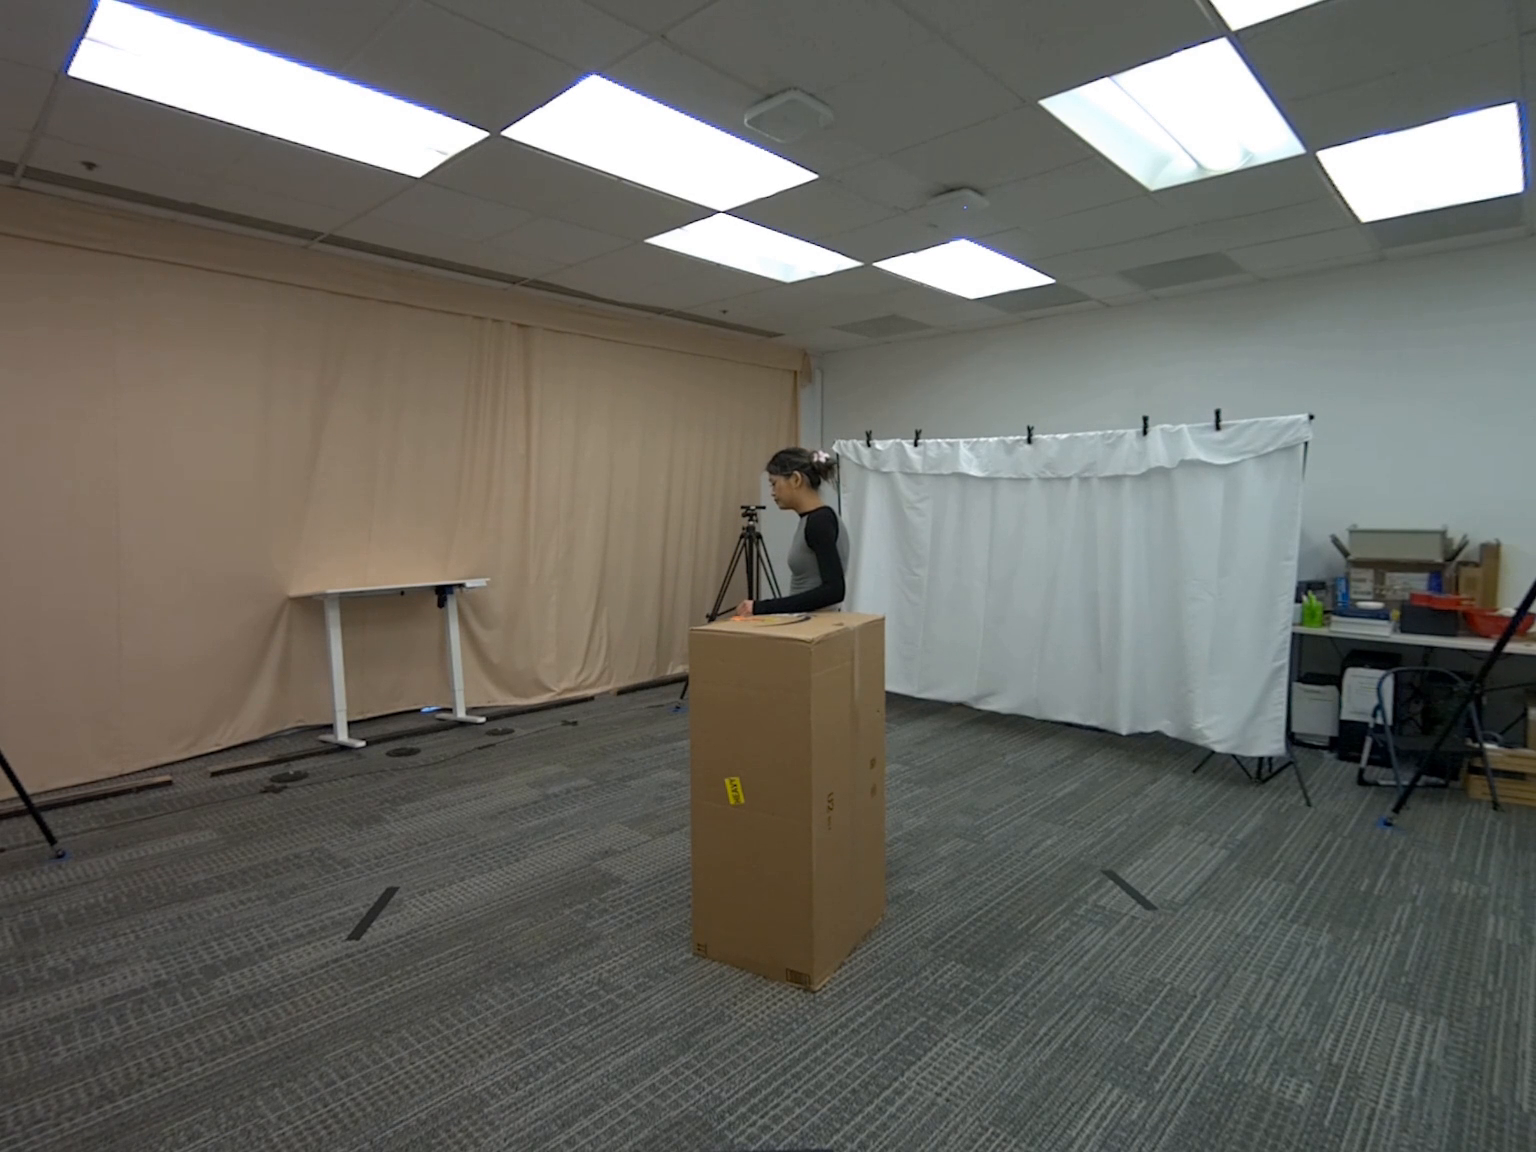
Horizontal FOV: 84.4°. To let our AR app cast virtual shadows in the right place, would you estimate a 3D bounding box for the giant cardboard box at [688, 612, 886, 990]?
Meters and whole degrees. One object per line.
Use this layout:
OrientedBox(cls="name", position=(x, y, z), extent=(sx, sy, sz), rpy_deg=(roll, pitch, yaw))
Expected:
OrientedBox(cls="giant cardboard box", position=(0.080, 0.653, 2.726), extent=(0.439, 1.024, 0.562), rpy_deg=(1, 3, 31))
